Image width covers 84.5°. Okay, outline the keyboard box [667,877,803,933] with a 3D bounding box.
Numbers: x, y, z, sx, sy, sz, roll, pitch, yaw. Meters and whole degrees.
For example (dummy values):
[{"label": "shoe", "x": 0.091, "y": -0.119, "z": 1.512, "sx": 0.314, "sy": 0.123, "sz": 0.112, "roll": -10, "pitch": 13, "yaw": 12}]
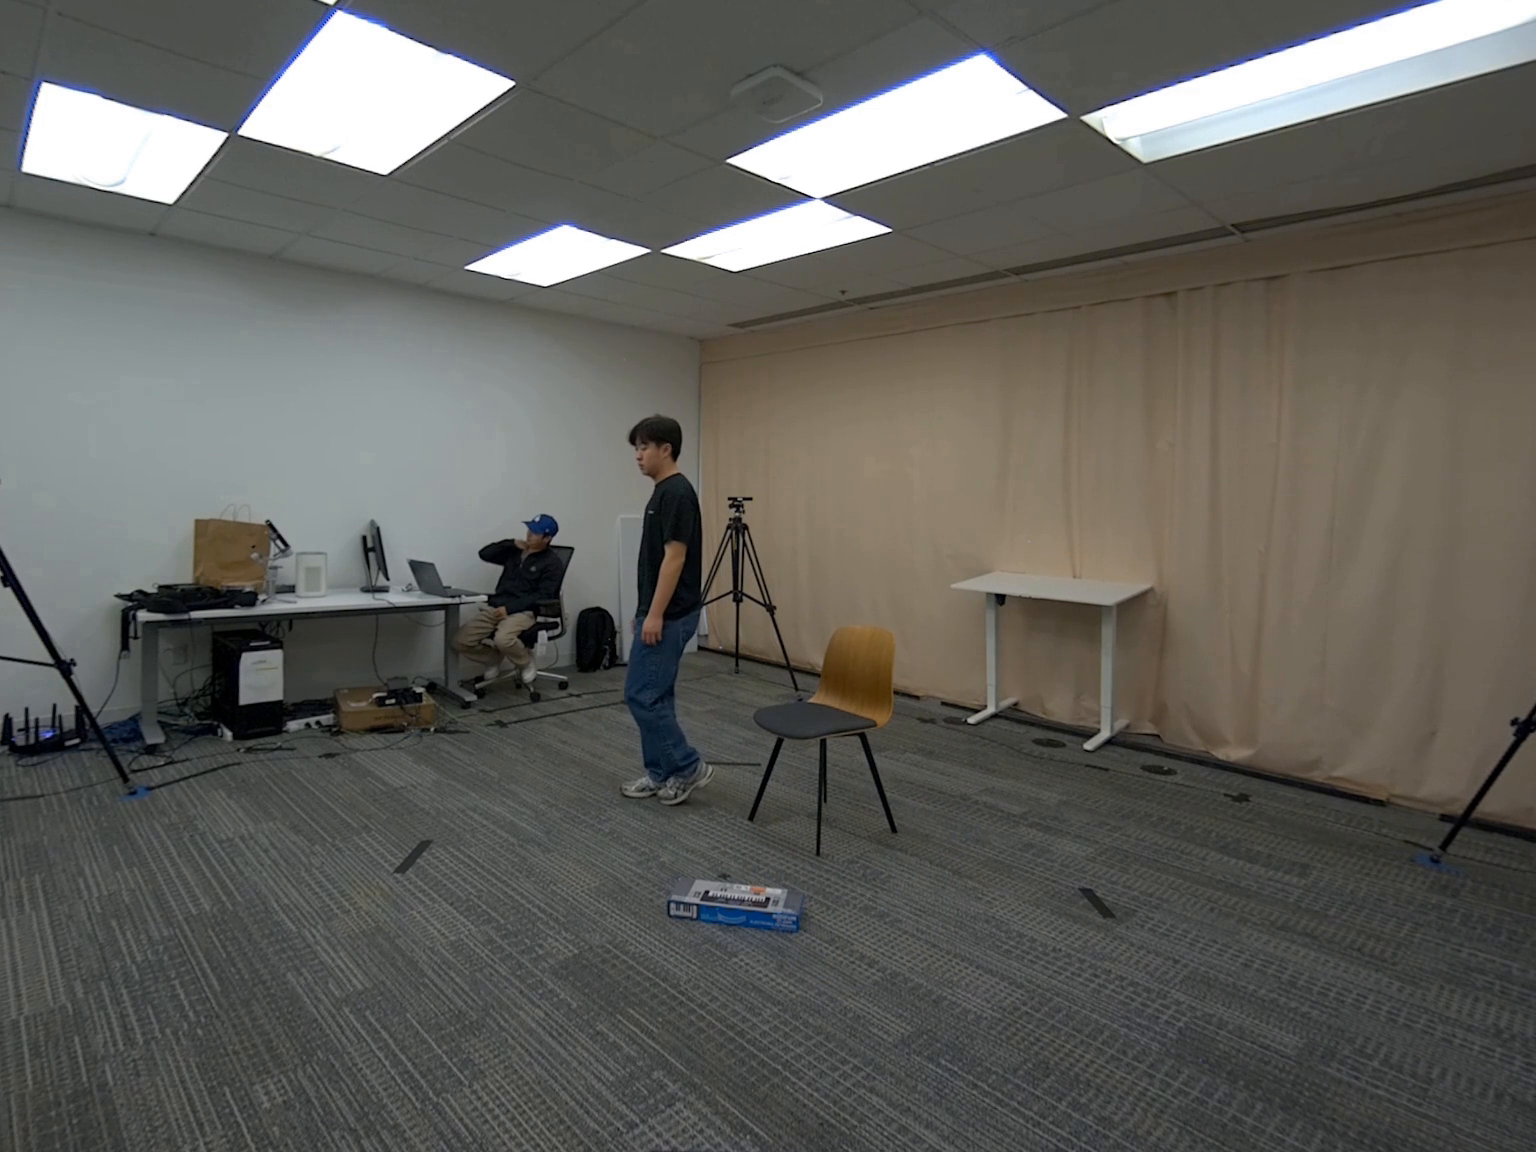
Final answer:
[{"label": "keyboard box", "x": -0.111, "y": 1.105, "z": 2.827, "sx": 0.441, "sy": 0.059, "sz": 0.175, "roll": 2, "pitch": 5, "yaw": 11}]
